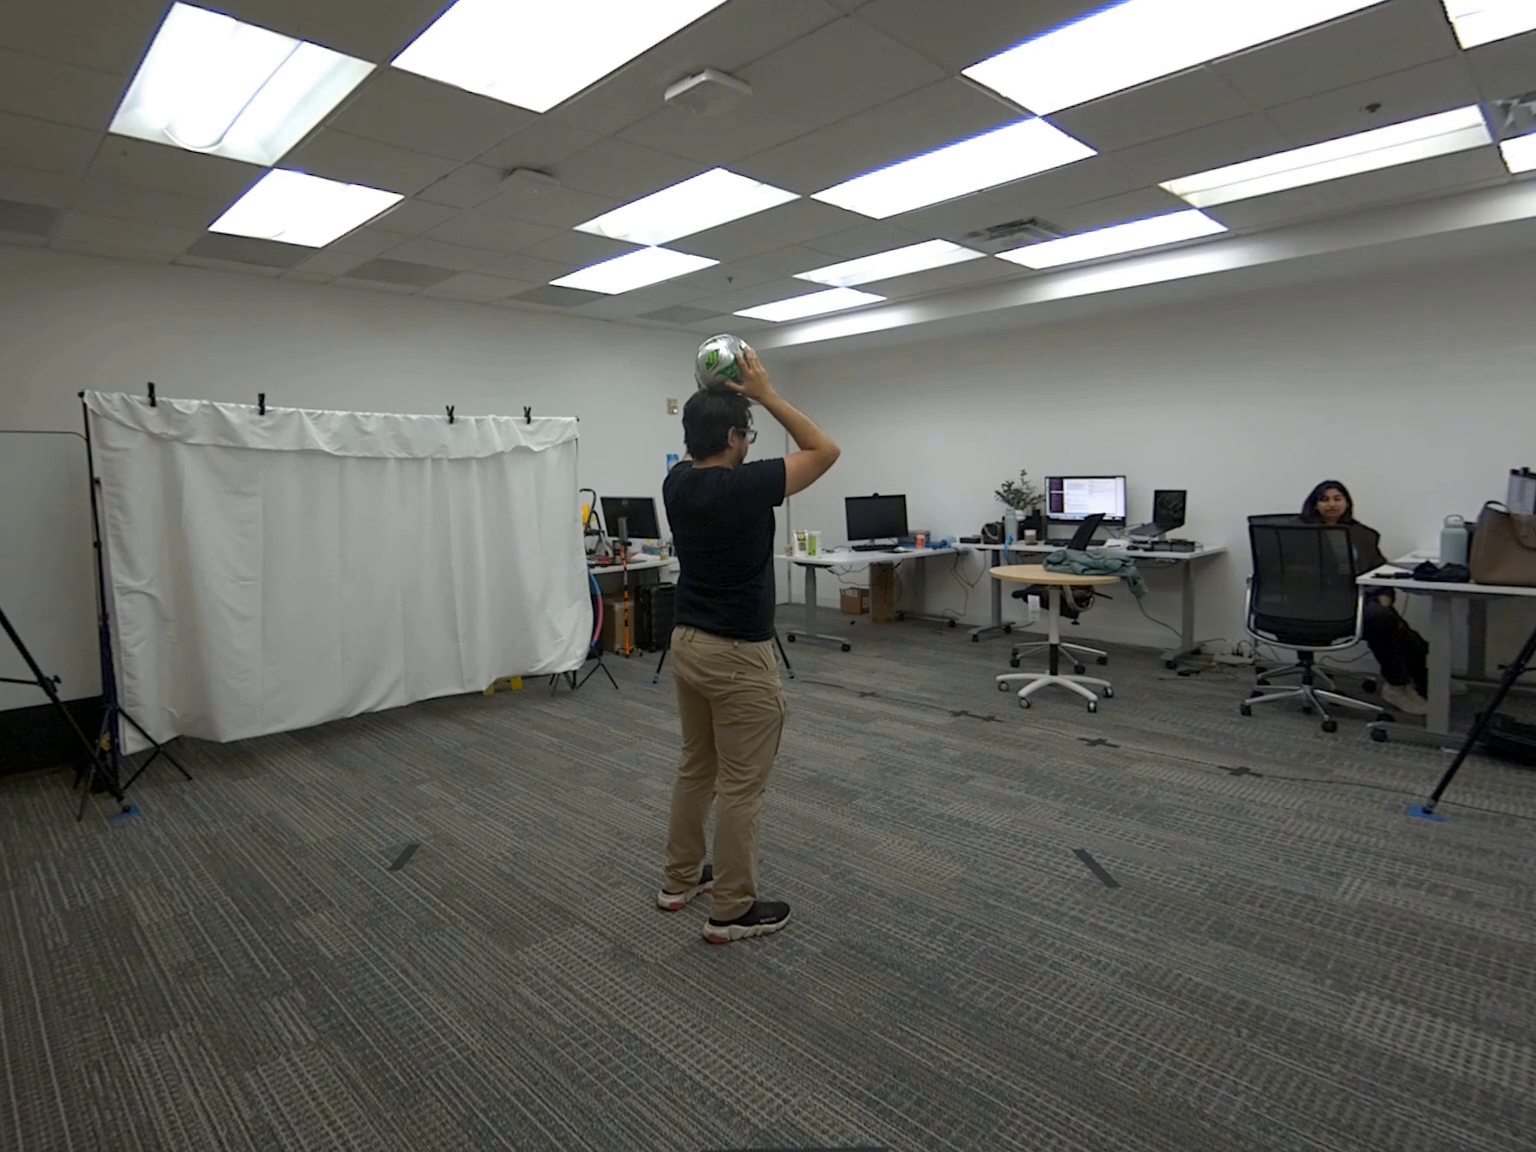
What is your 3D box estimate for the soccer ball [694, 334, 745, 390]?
[{"bbox_3d":[-0.131,-0.648,2.637,0.187,0.187,0.188,-1,5,-2],"label":"soccer ball"}]
